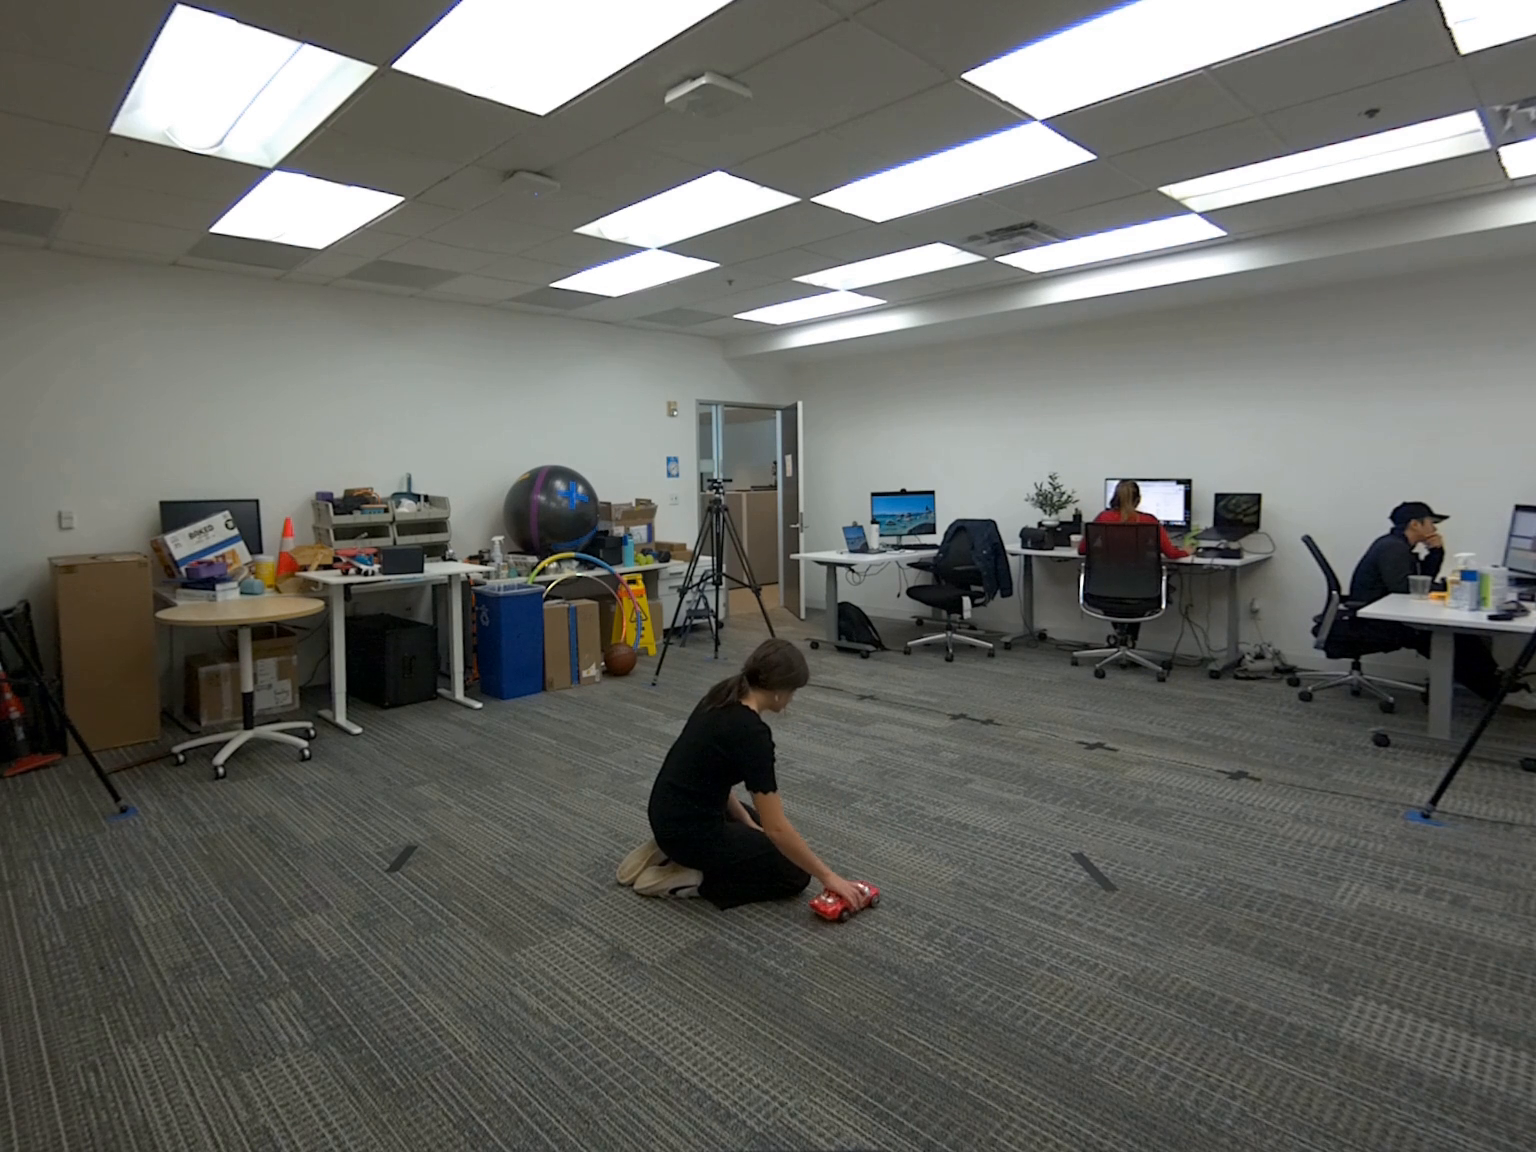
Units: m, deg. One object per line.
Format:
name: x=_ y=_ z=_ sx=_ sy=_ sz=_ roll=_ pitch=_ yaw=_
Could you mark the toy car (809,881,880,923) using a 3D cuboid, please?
toy car: x=0.231 y=1.042 z=2.758 sx=0.246 sy=0.083 sz=0.134 roll=9 pitch=0 yaw=-38
